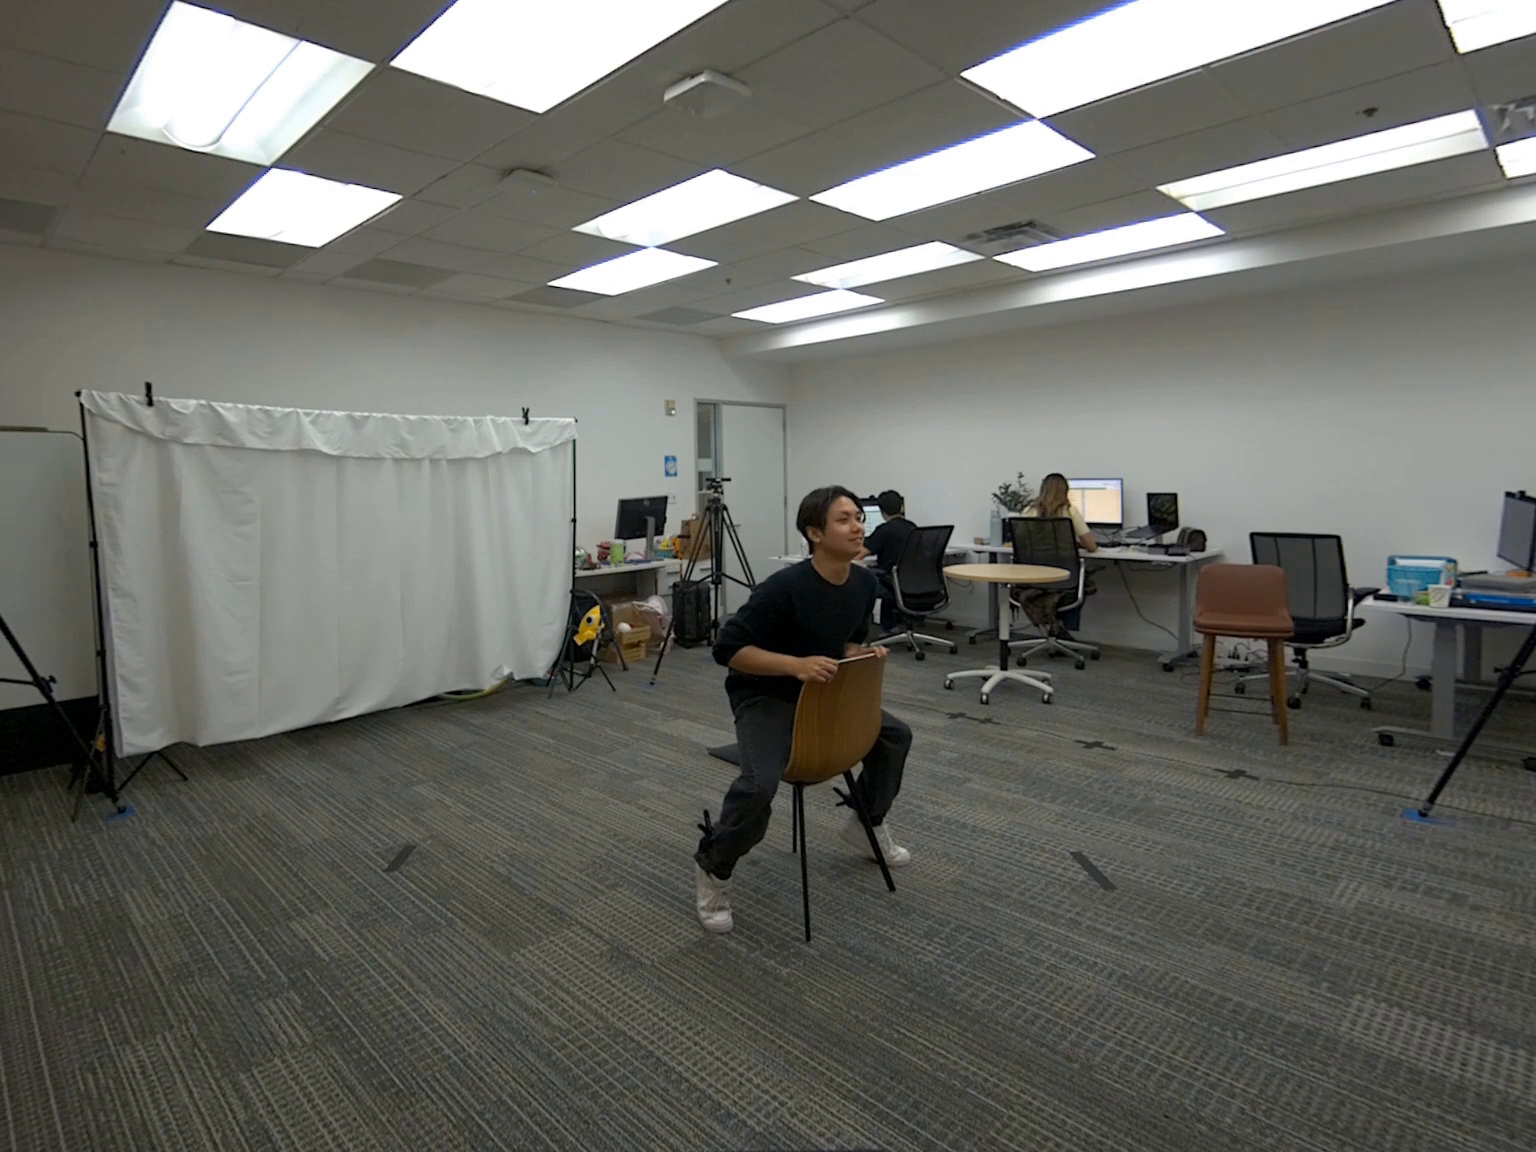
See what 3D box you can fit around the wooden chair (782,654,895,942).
[{"bbox_3d":[0.093,0.641,2.861,0.540,0.872,0.465,9,10,44],"label":"wooden chair"}]
